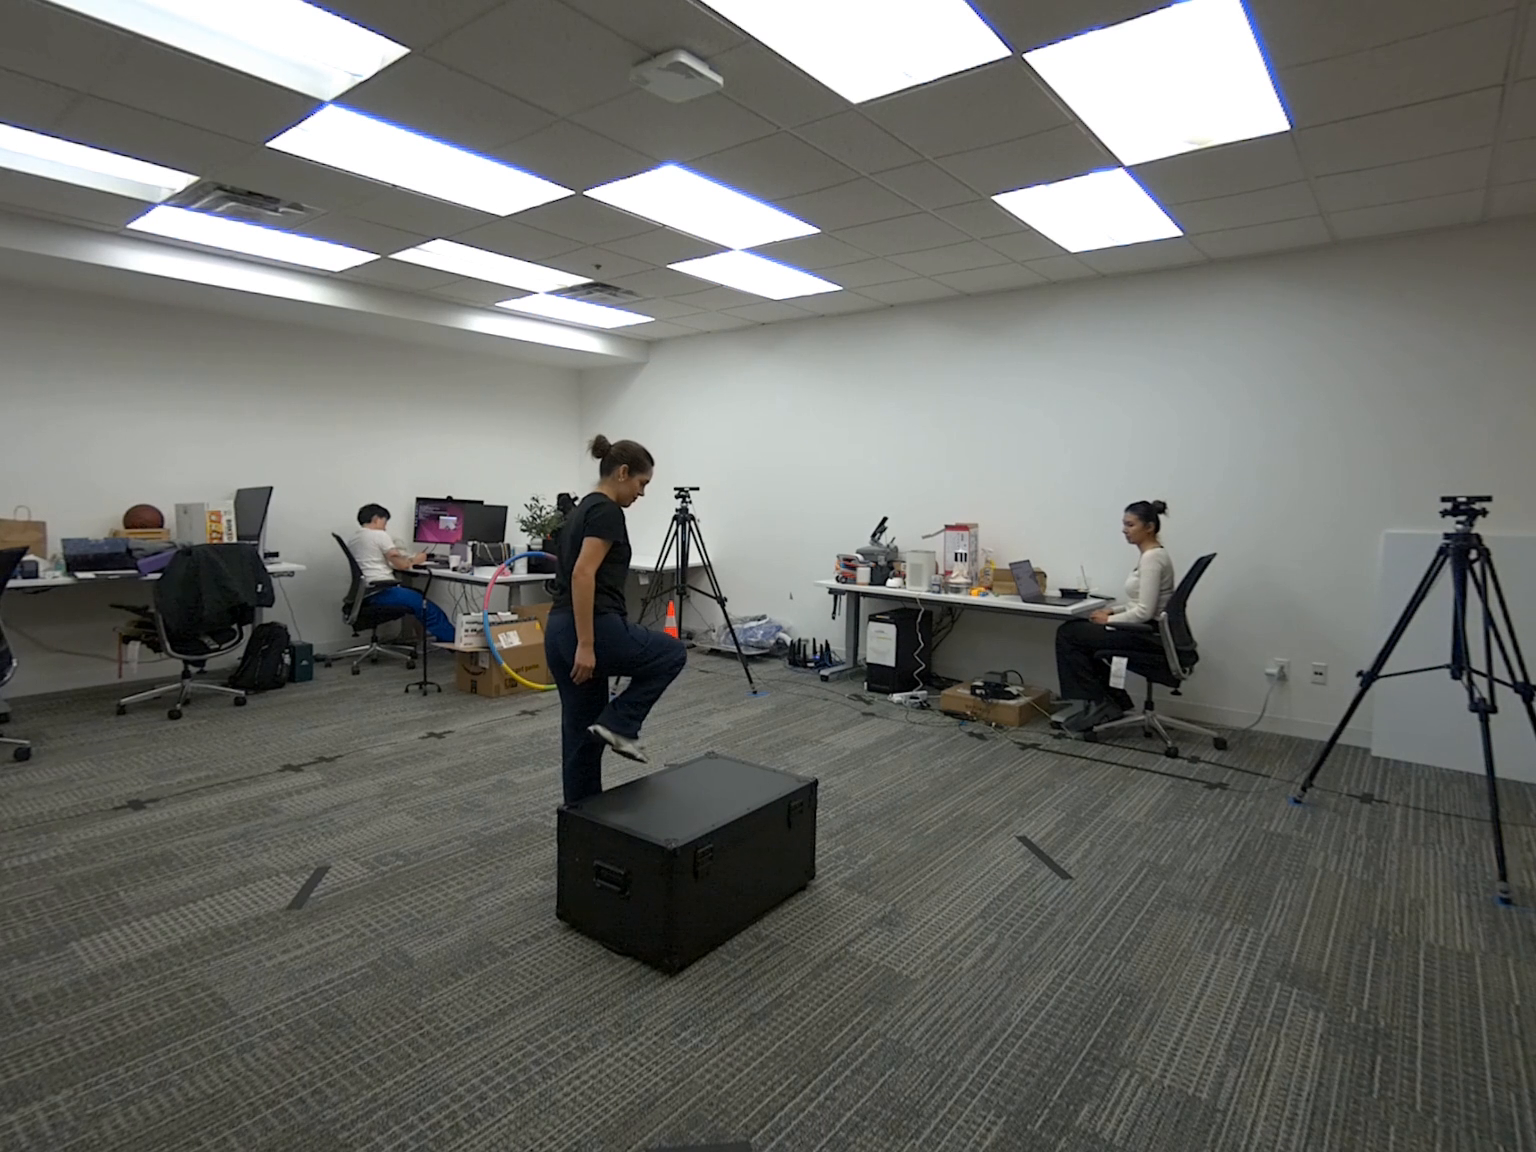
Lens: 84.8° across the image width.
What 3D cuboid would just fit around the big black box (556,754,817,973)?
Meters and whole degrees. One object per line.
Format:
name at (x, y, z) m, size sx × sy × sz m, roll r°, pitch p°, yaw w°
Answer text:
big black box at (-0.213, 0.898, 2.866) m, size 0.538 × 0.395 × 0.837 m, roll 4°, pitch 6°, yaw 36°
